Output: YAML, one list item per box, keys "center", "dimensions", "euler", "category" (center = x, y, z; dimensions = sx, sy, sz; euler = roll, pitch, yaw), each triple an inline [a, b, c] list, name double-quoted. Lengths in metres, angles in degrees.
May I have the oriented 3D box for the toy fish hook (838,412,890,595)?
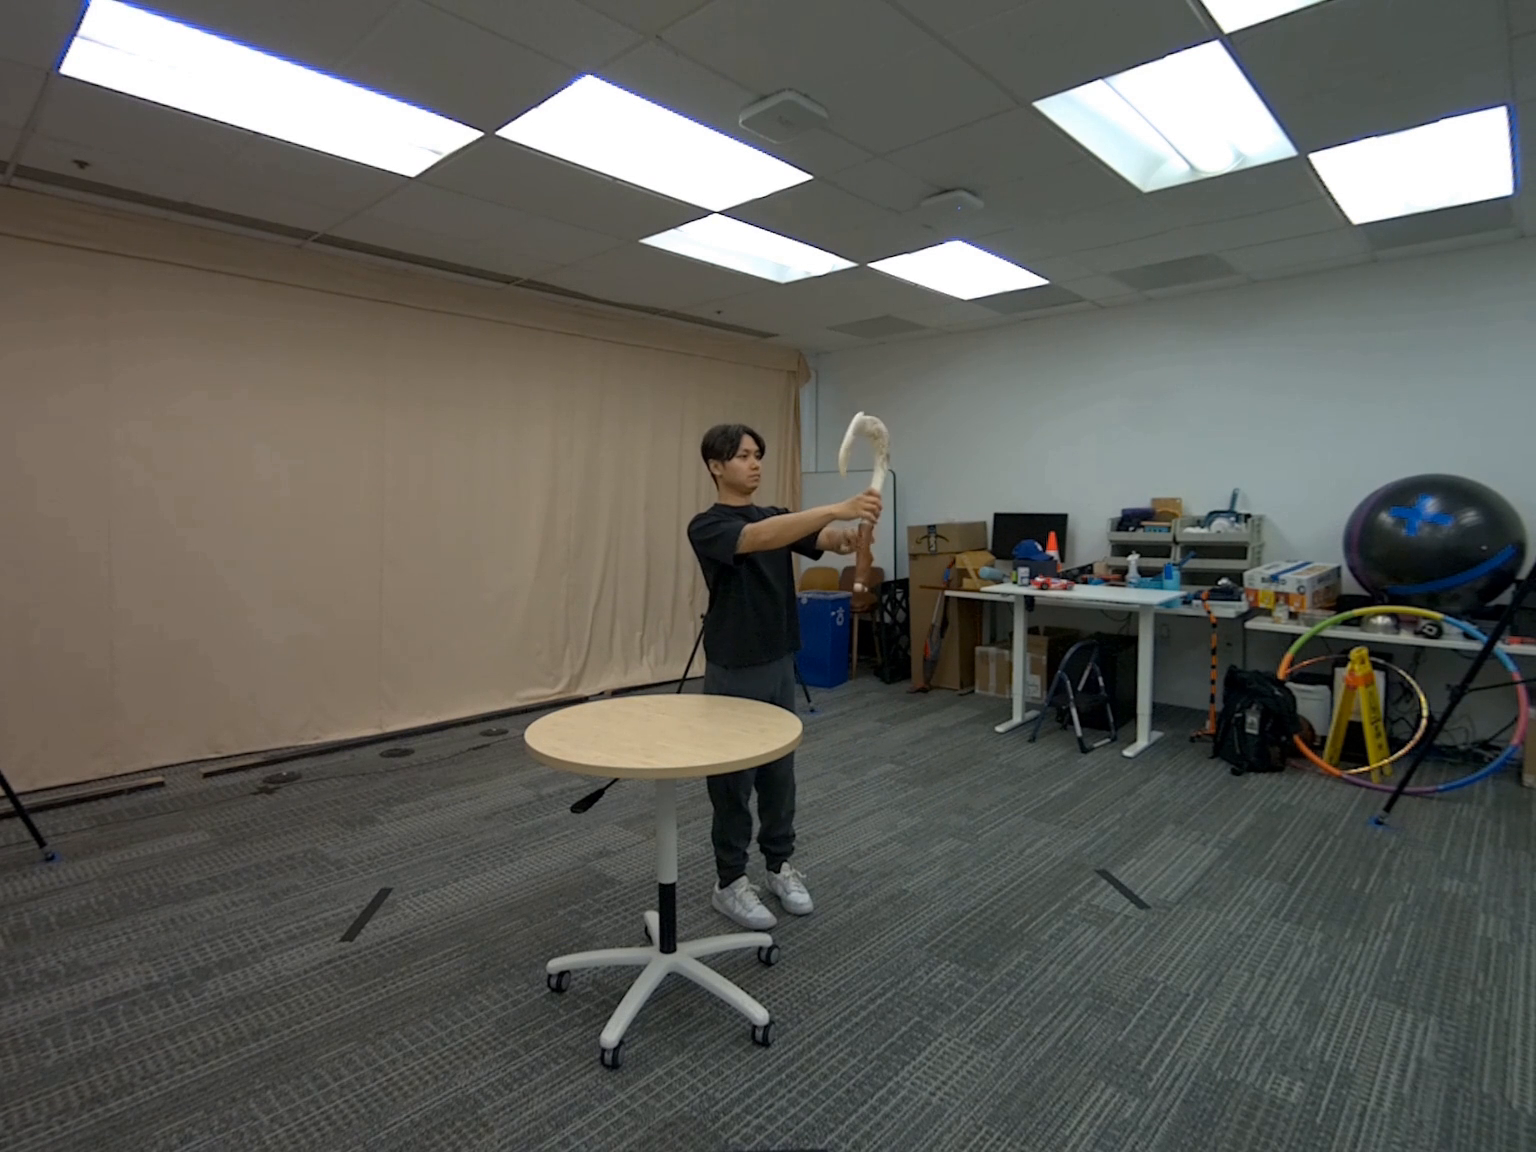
- center: [0.266, -0.200, 2.392]
  dimensions: [0.217, 0.507, 0.050]
  euler: [7, -3, -41]
  category: "toy fish hook"
